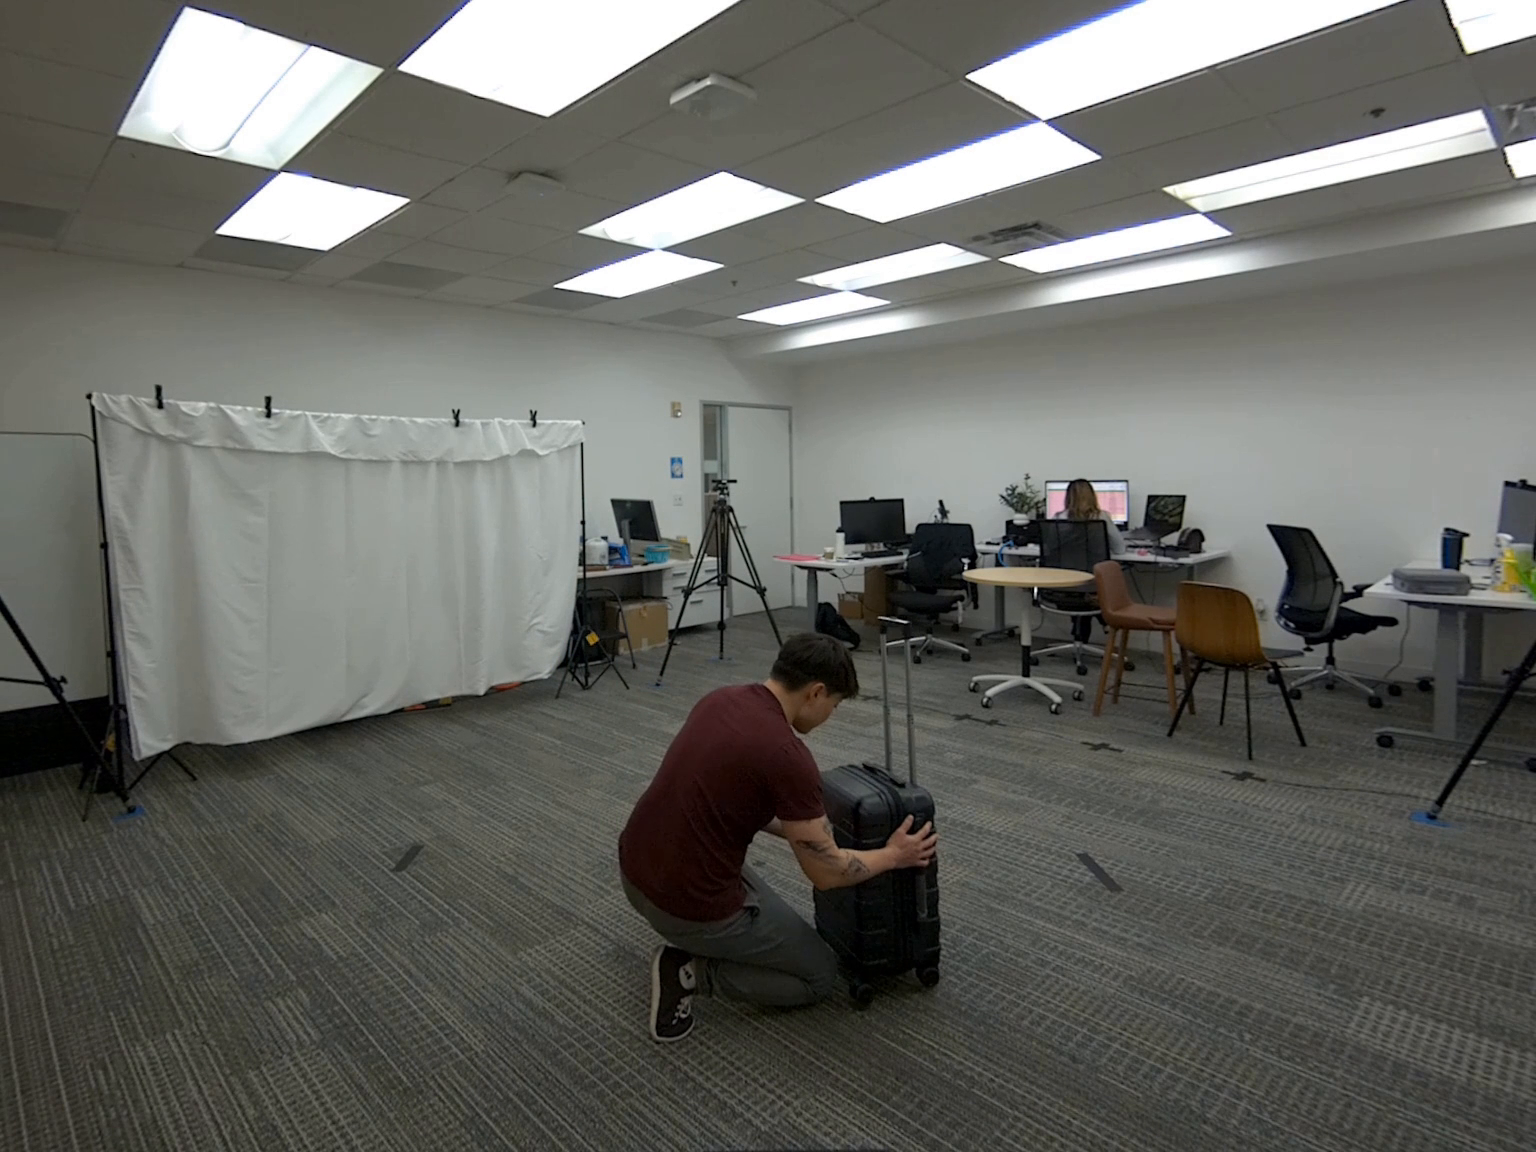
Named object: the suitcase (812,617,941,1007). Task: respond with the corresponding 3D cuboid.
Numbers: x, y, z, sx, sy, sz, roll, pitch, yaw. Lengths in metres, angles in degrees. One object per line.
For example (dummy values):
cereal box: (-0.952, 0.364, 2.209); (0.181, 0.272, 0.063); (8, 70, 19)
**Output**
suitcase: (0.295, 0.630, 2.431); (0.253, 0.979, 0.390); (-3, 0, -18)
